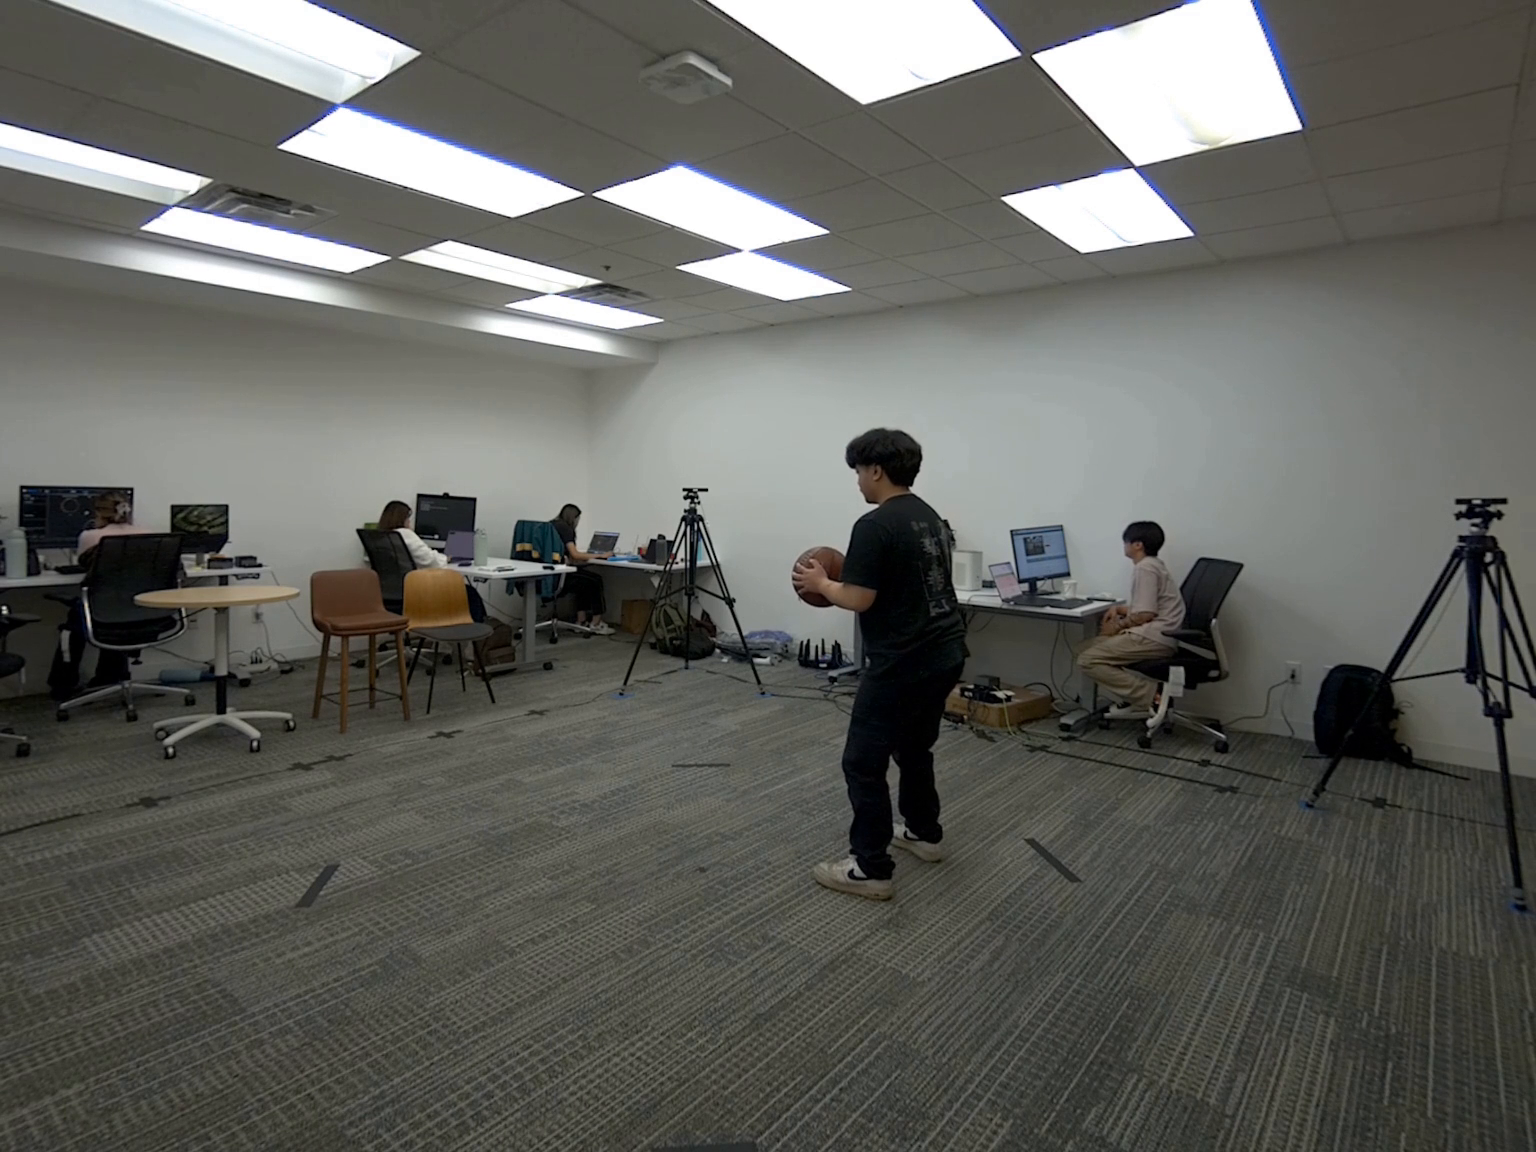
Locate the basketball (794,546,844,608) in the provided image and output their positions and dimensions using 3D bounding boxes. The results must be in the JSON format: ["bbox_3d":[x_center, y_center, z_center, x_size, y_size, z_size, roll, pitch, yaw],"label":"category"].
[{"bbox_3d":[0.204,0.002,3.330,0.235,0.235,0.237,1,4,-2],"label":"basketball"}]
